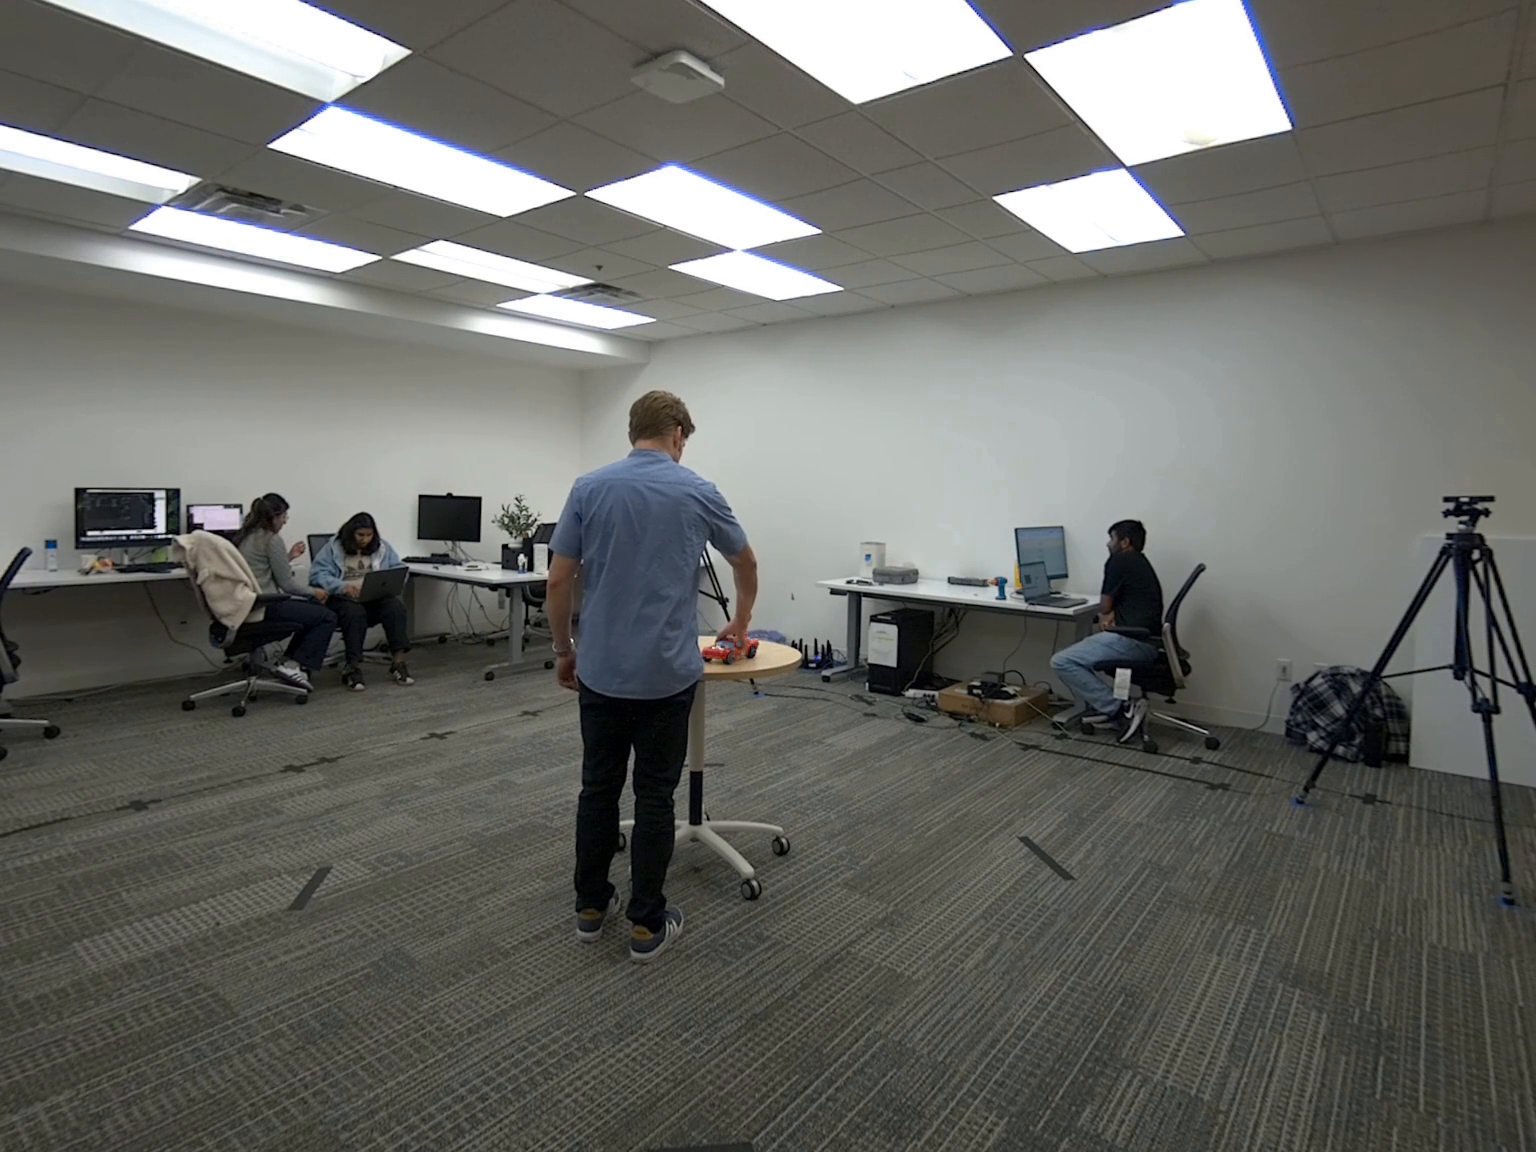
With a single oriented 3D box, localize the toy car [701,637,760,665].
[{"bbox_3d":[-0.135,0.262,3.034,0.134,0.082,0.250,3,16,32],"label":"toy car"}]
